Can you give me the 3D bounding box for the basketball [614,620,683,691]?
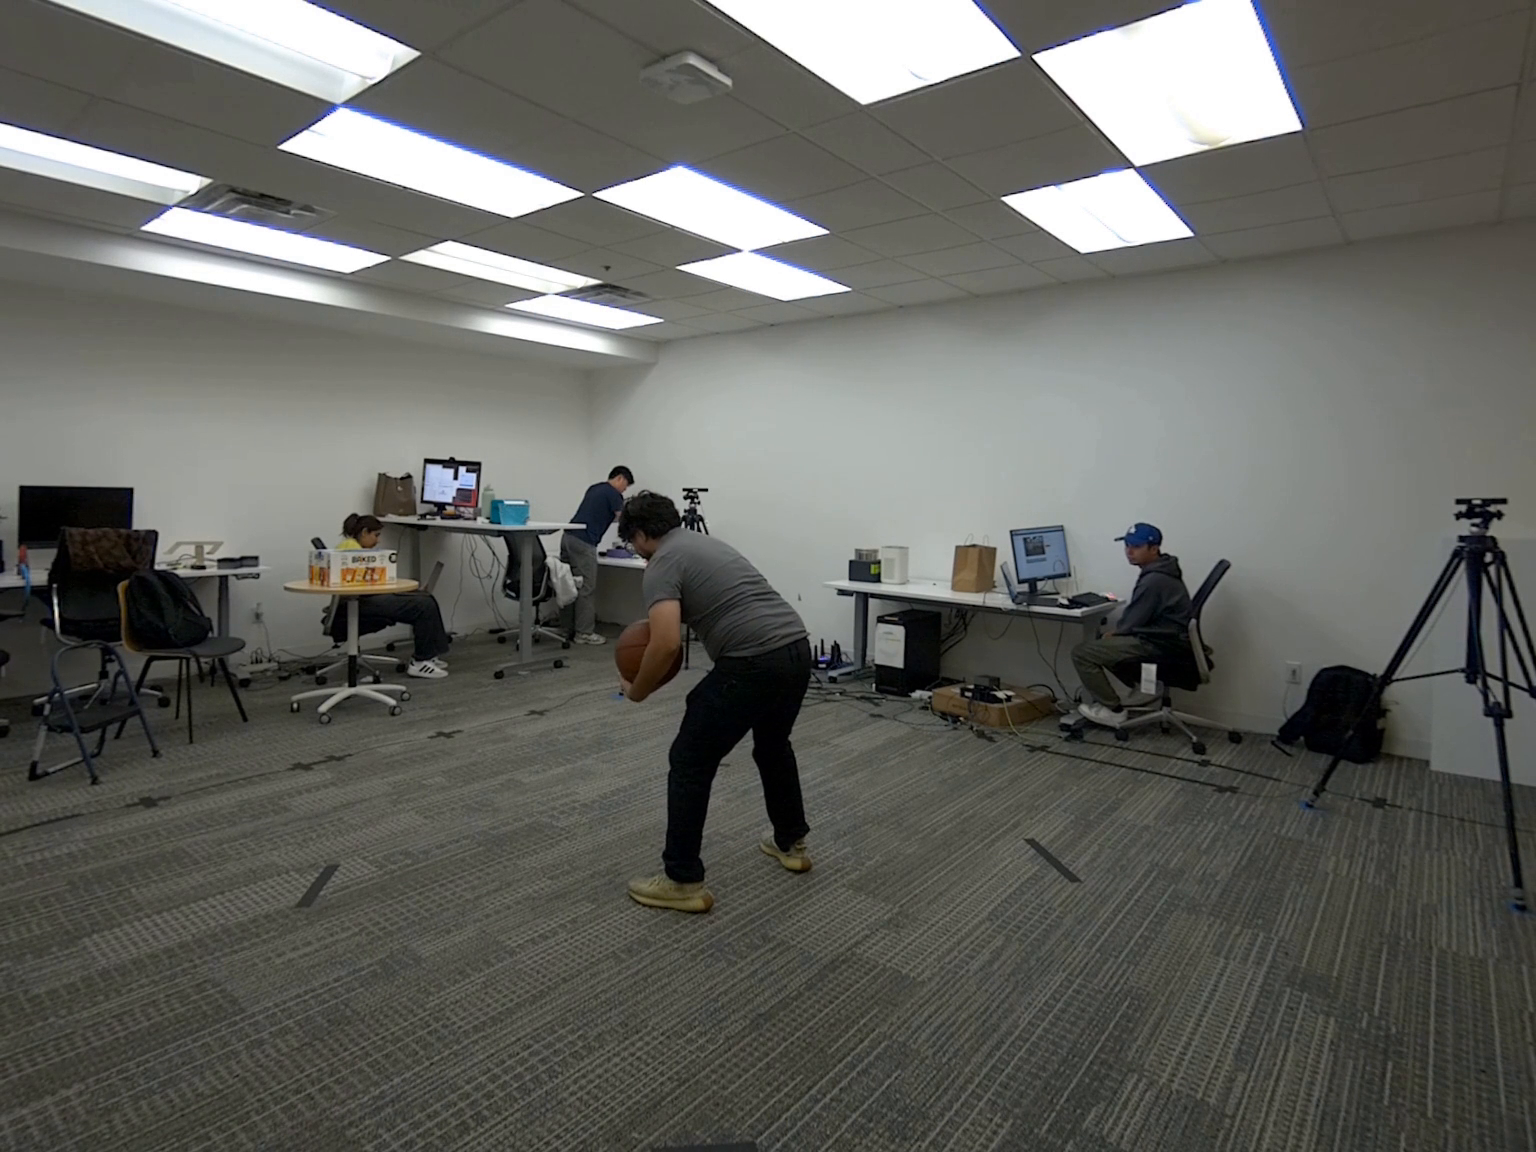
[{"bbox_3d":[-0.423,0.271,2.963,0.235,0.235,0.237,1,4,-2],"label":"basketball"}]
